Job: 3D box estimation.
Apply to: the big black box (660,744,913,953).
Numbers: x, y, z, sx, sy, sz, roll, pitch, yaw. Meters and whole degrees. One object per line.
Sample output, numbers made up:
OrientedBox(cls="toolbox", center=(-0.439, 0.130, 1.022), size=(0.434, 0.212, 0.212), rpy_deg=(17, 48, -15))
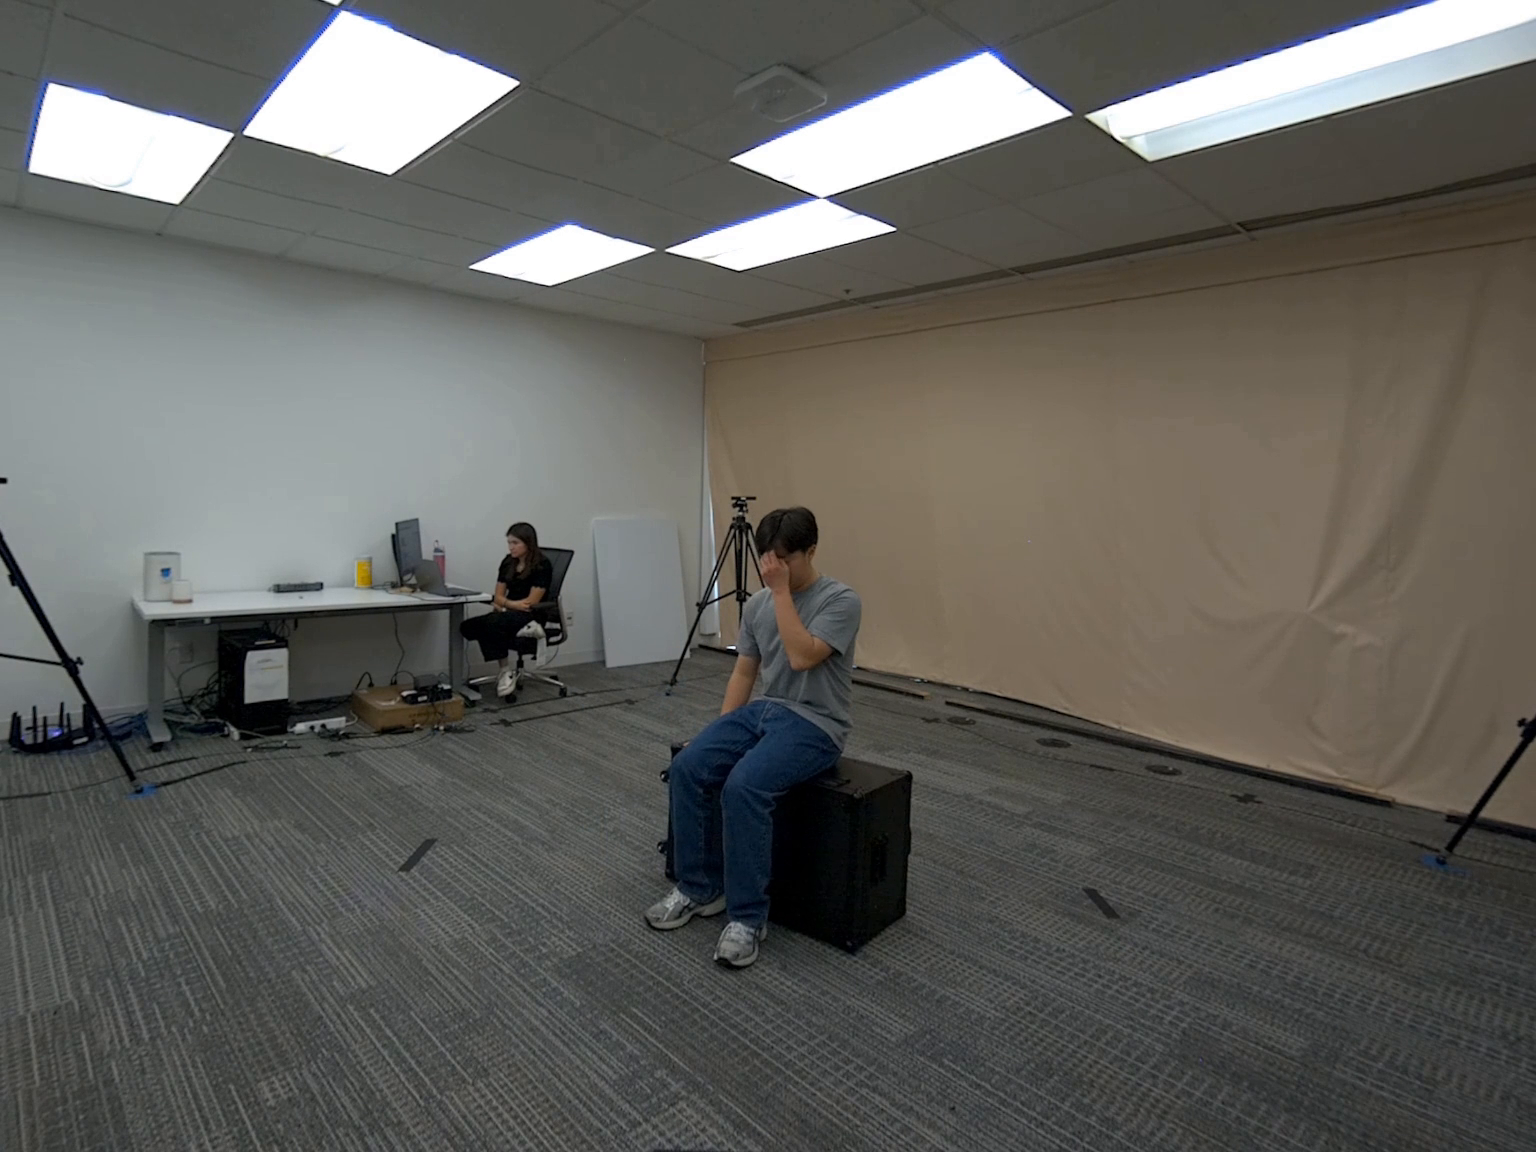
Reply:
OrientedBox(cls="big black box", center=(0.034, 0.869, 2.967), size=(0.882, 0.520, 0.387), rpy_deg=(4, 3, 37))
